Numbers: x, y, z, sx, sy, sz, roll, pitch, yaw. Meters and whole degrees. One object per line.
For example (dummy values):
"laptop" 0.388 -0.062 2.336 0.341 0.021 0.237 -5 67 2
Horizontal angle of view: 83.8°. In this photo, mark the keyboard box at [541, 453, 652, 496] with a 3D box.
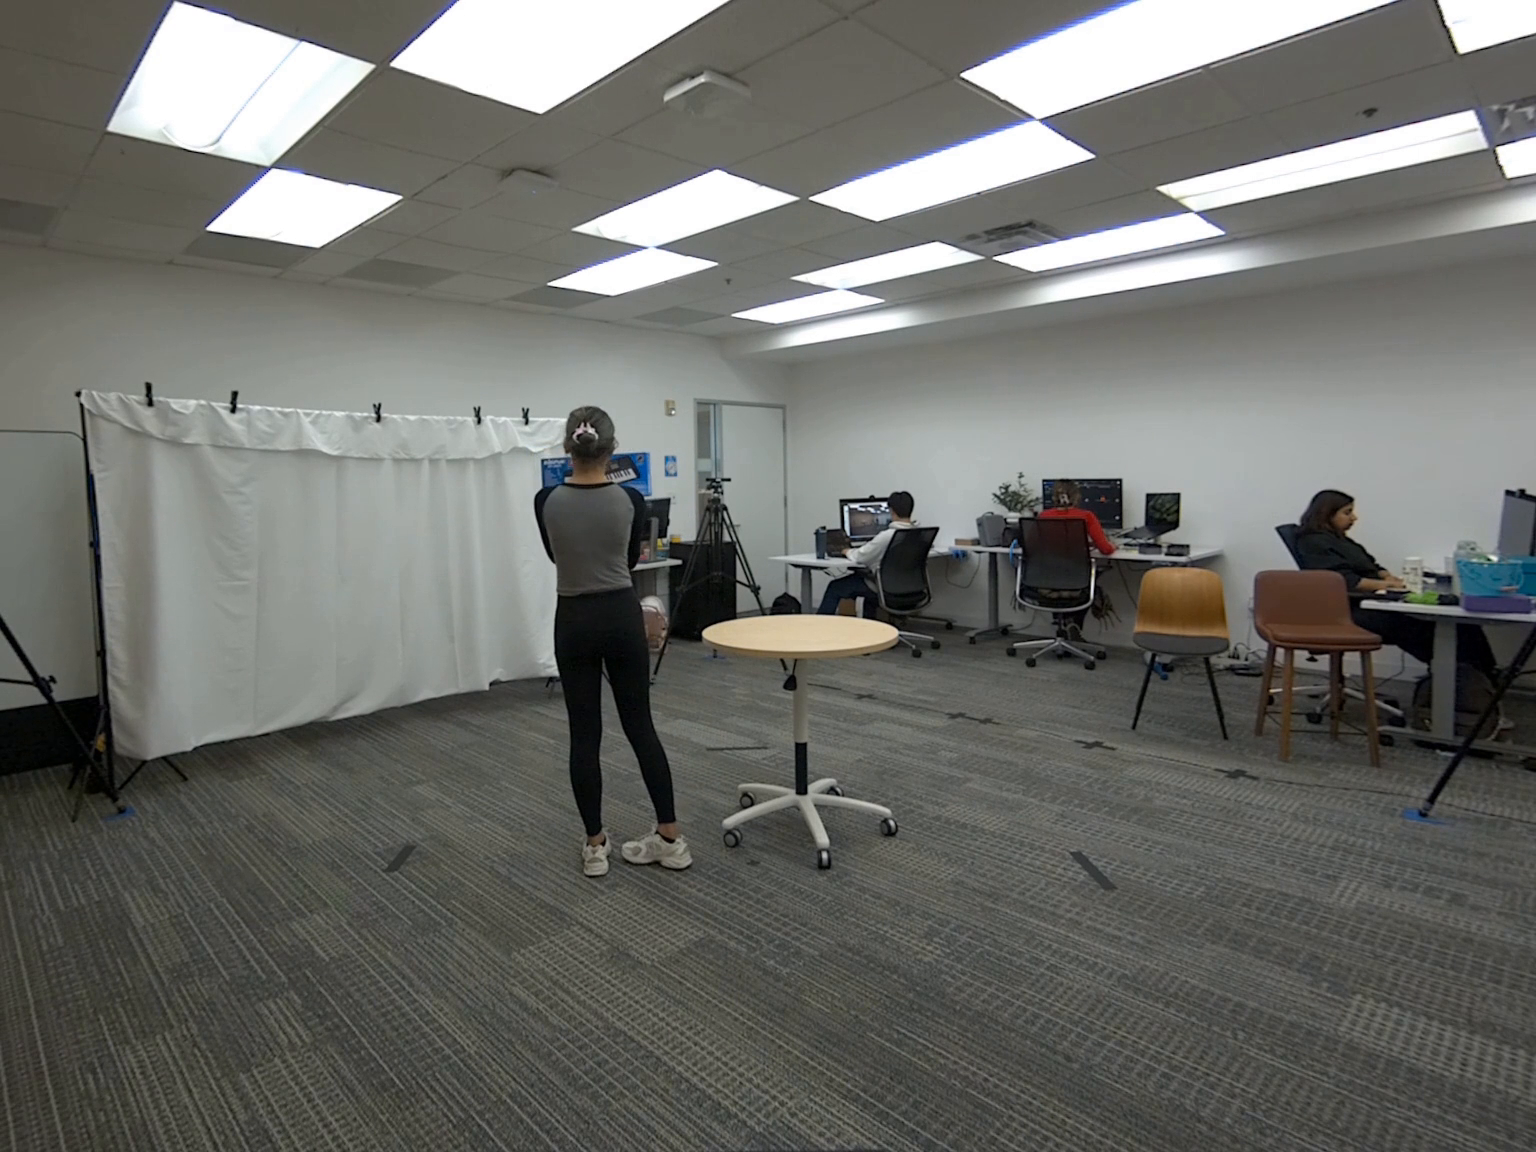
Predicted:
"keyboard box" -0.679 -0.393 3.400 0.441 0.176 0.058 -2 -1 9
